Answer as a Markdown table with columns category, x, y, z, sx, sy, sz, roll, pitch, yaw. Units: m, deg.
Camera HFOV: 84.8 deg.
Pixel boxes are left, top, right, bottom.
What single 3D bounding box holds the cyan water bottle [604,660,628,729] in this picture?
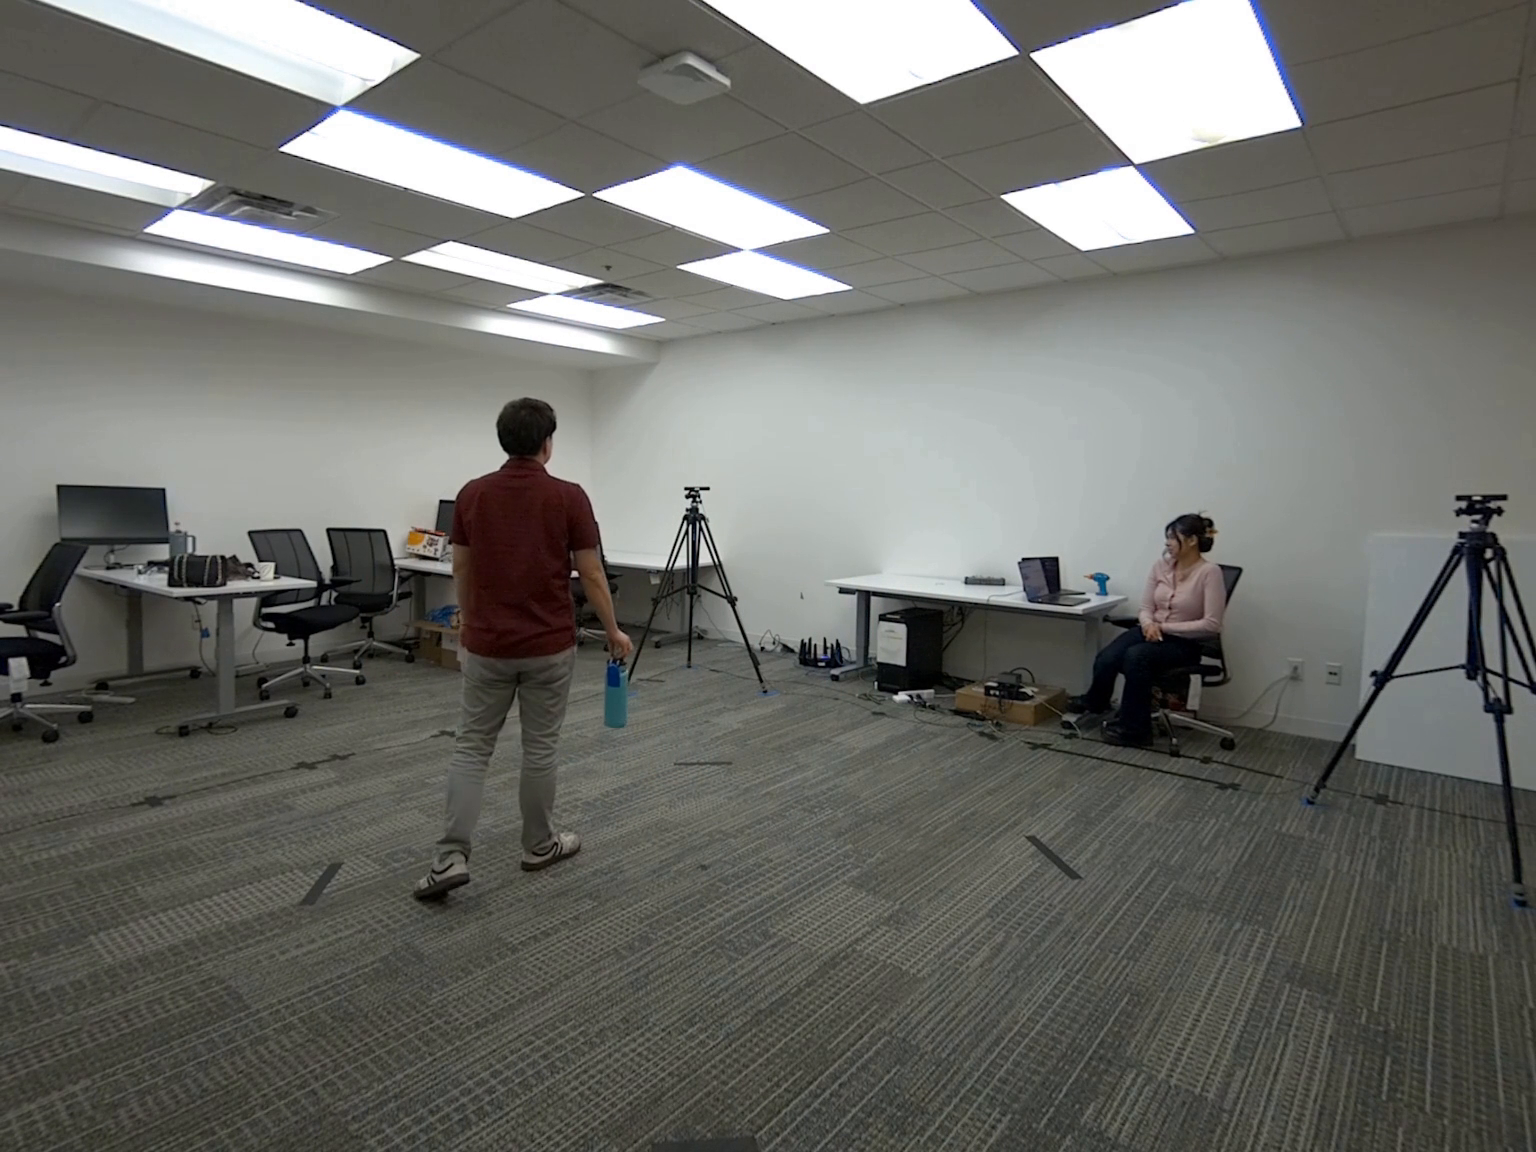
| category | x | y | z | sx | sy | sz | roll | pitch | yaw |
| --- | --- | --- | --- | --- | --- | --- | --- | --- | --- |
| cyan water bottle | -0.592 | 0.432 | 3.184 | 0.092 | 0.279 | 0.094 | 4 | 18 | -3 |
